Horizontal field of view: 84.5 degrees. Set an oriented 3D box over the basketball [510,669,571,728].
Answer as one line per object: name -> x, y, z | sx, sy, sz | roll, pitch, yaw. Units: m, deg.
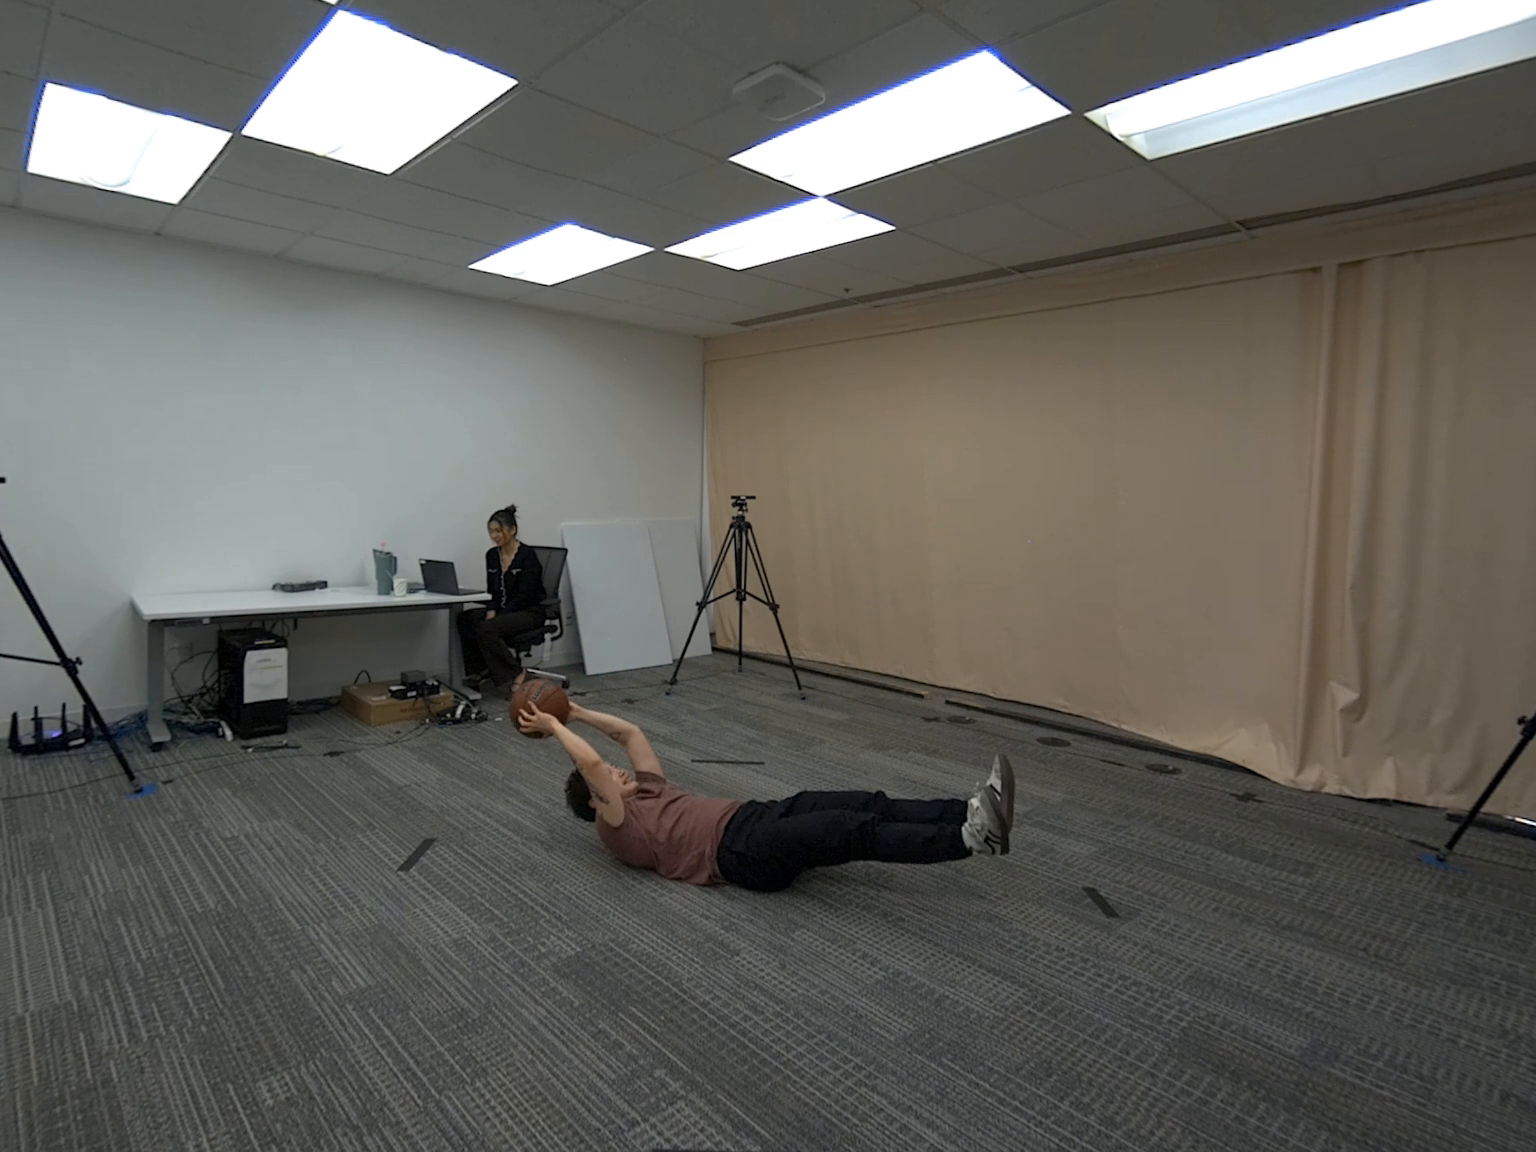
basketball -> -0.922, 0.535, 3.368 | 0.236, 0.234, 0.237 | 0, 8, -1
